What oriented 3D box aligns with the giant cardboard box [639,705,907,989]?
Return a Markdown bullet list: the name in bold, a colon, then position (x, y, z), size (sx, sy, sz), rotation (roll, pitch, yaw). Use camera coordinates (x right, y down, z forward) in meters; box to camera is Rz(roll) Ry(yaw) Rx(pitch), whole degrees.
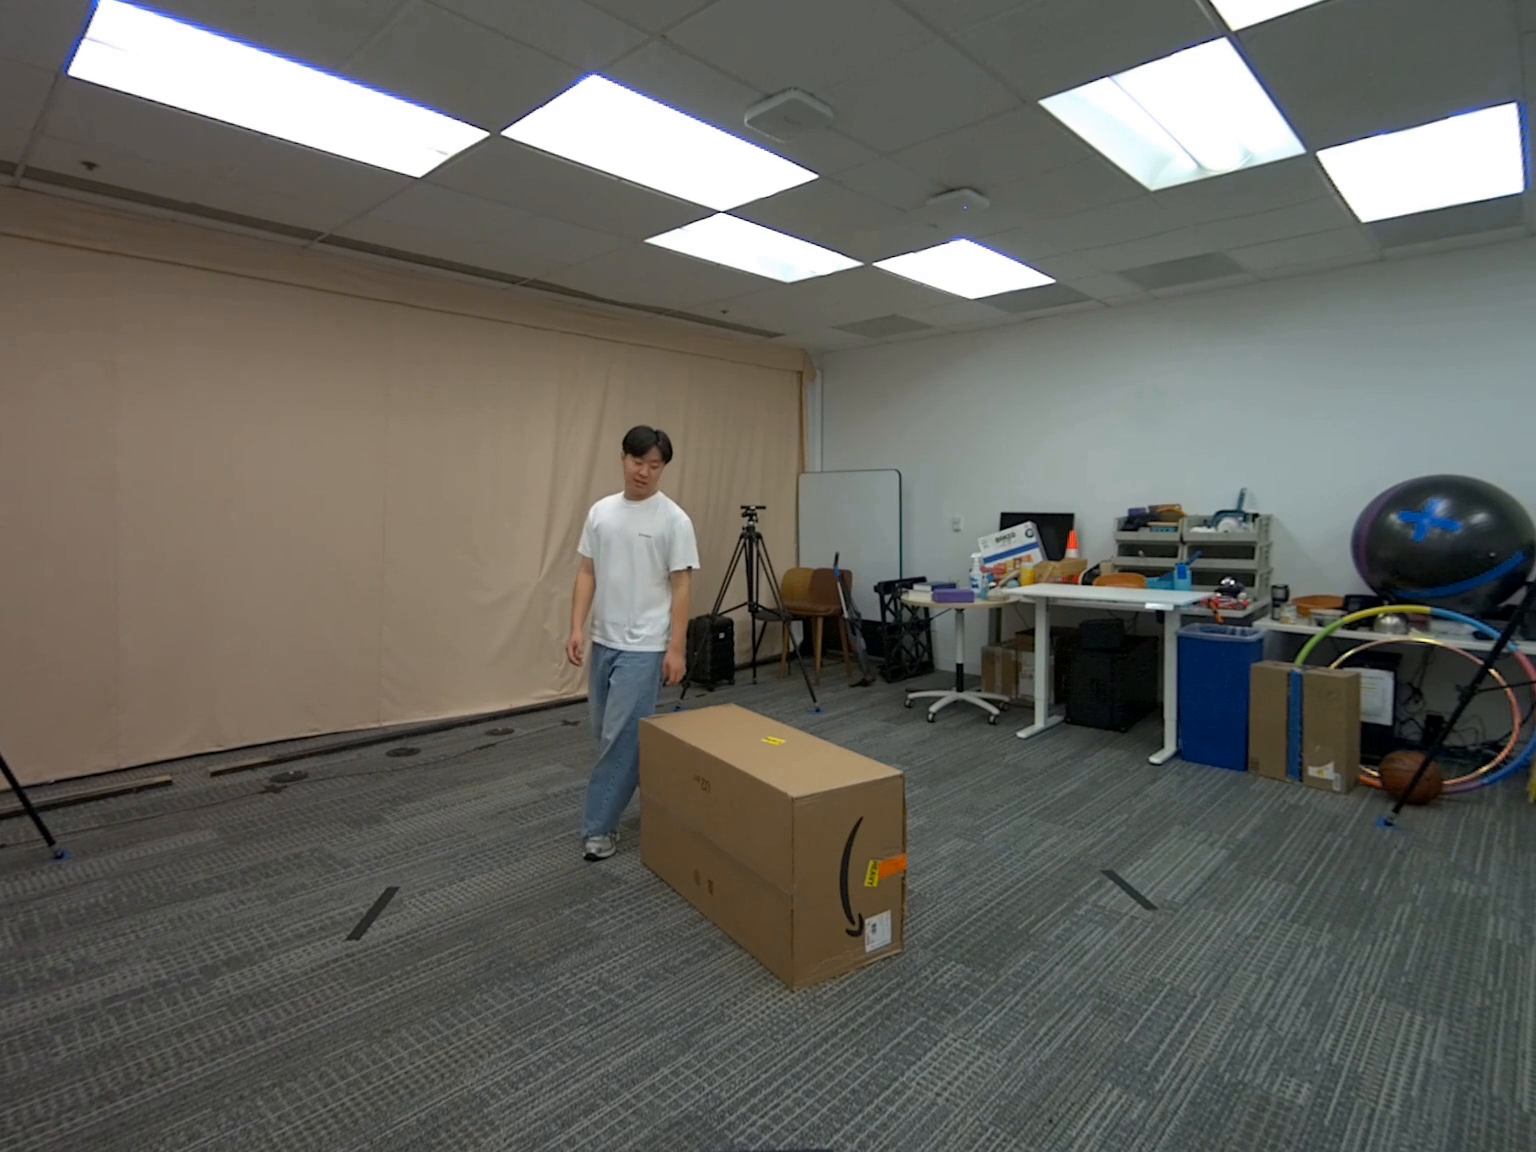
- **giant cardboard box**: position (-0.029, 0.860, 2.936), size (0.414, 0.576, 1.057), rotation (-3, 5, -32)
